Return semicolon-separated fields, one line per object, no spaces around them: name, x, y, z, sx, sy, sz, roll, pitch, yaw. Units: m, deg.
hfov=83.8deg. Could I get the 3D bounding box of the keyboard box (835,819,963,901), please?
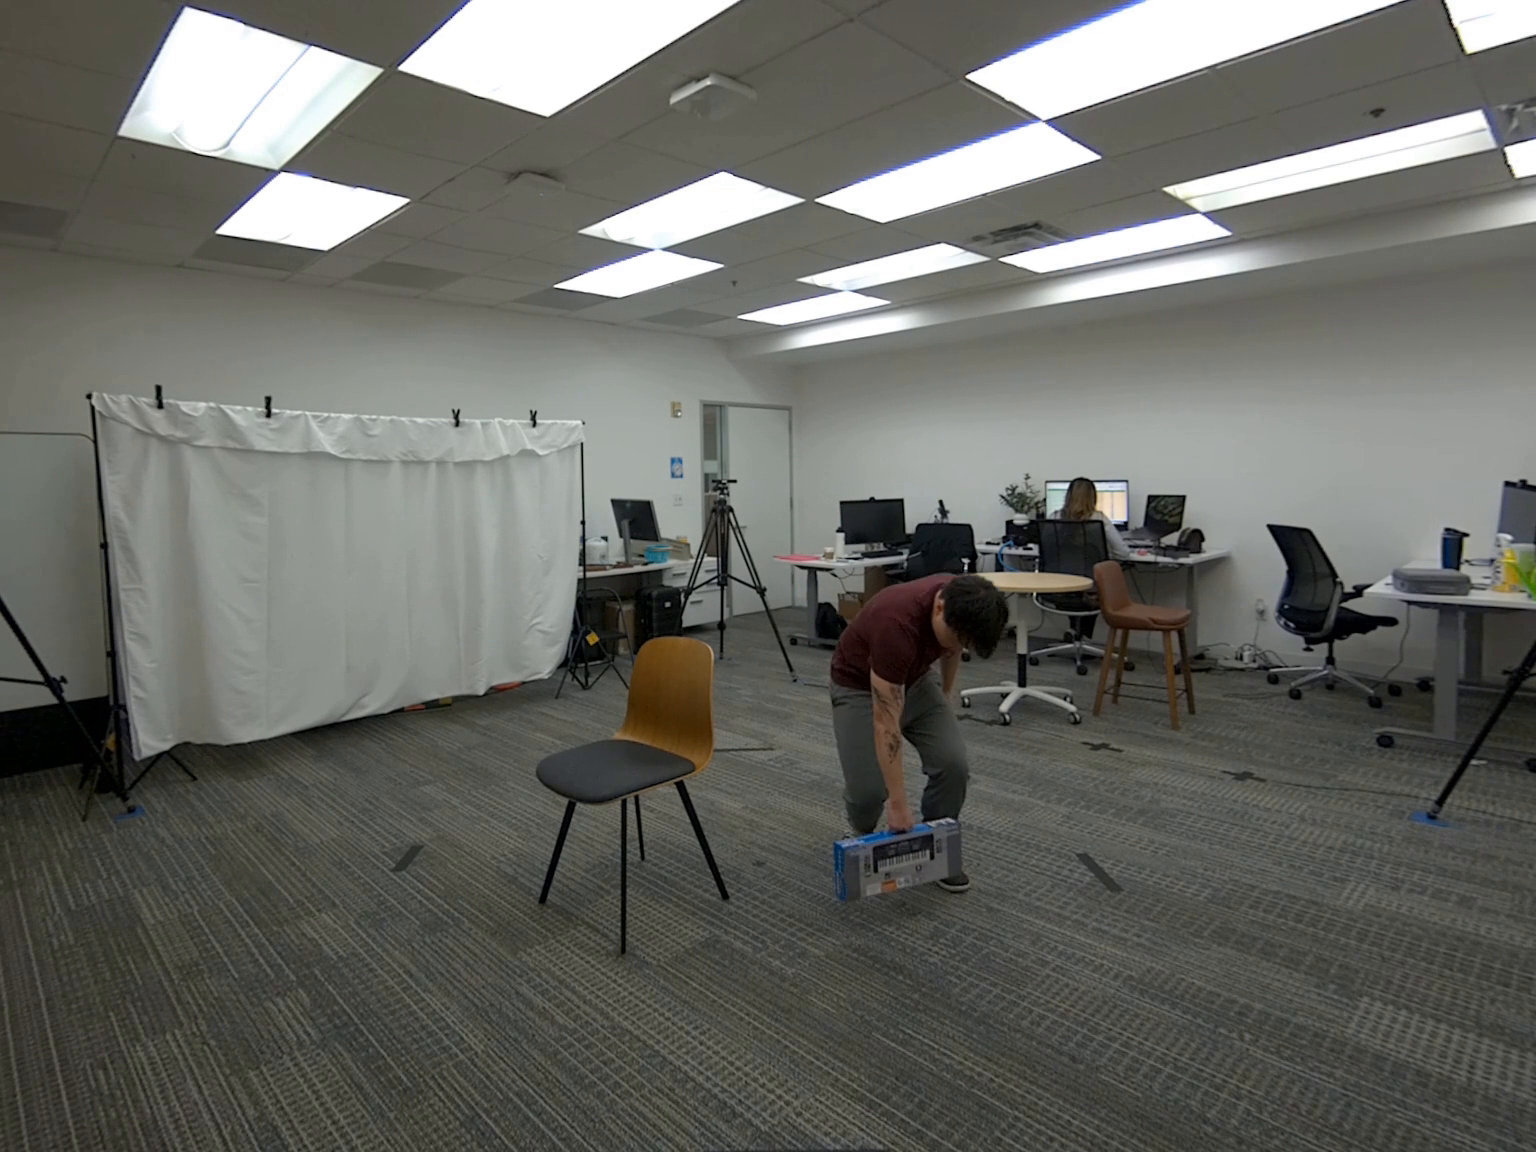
keyboard box;0.416;0.889;2.705;0.429;0.175;0.060;-4;3;-20
